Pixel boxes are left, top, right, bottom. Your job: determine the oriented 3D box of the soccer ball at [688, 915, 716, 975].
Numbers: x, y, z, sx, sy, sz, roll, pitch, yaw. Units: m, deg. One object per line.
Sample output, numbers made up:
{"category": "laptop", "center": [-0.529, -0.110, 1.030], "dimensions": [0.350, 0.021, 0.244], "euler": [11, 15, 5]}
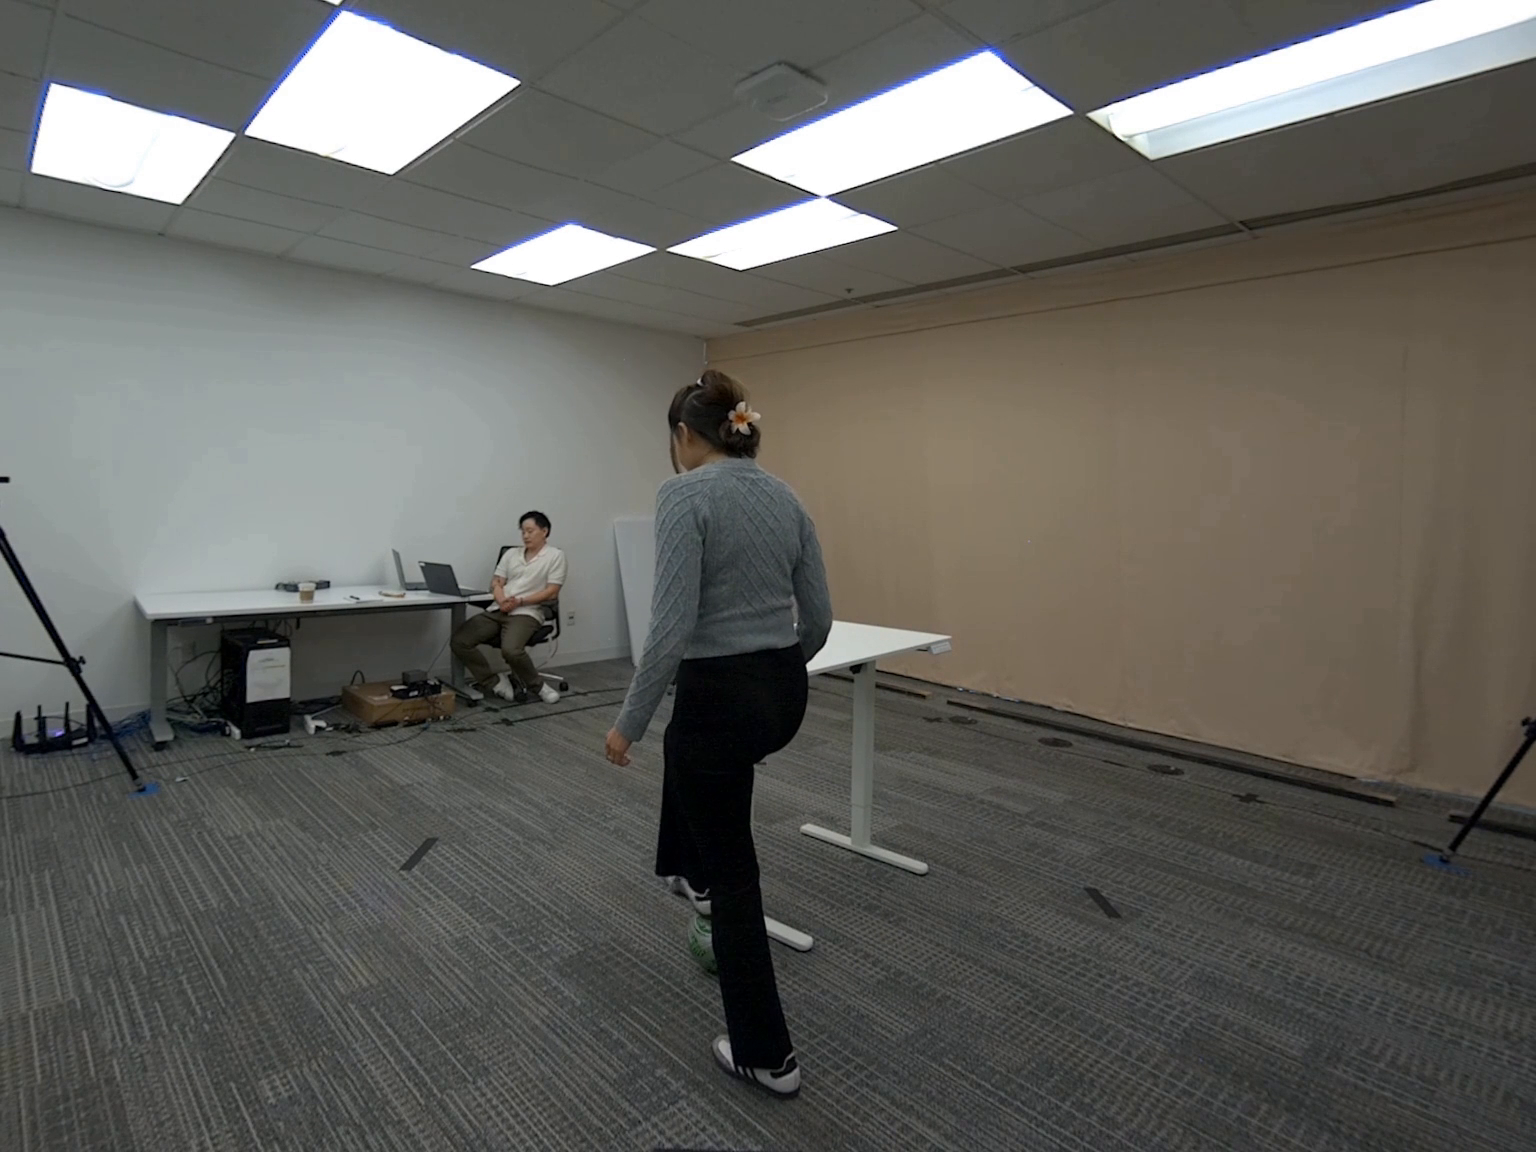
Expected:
{"category": "soccer ball", "center": [-0.161, 1.076, 2.480], "dimensions": [0.187, 0.187, 0.188], "euler": [1, 4, -1]}
